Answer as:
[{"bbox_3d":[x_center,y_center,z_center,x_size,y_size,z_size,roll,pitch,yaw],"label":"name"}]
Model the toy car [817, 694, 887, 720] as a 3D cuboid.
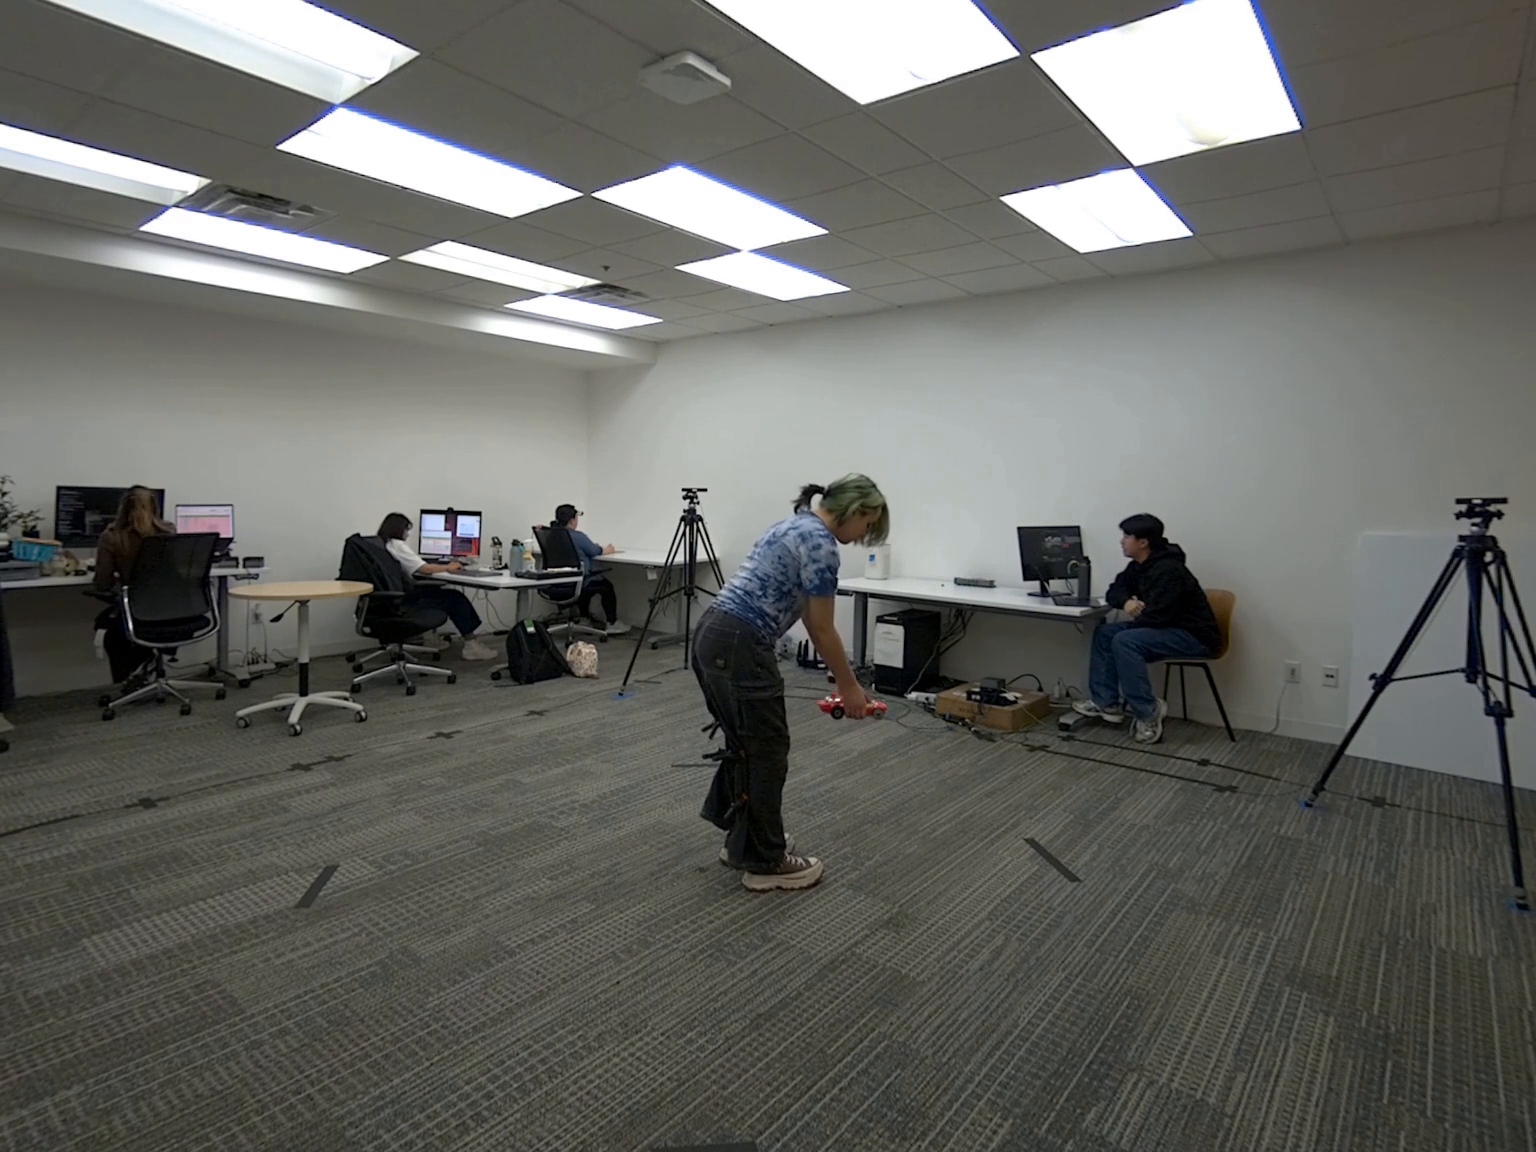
[{"bbox_3d":[0.286,0.487,3.088,0.255,0.083,0.130,9,1,0],"label":"toy car"}]
